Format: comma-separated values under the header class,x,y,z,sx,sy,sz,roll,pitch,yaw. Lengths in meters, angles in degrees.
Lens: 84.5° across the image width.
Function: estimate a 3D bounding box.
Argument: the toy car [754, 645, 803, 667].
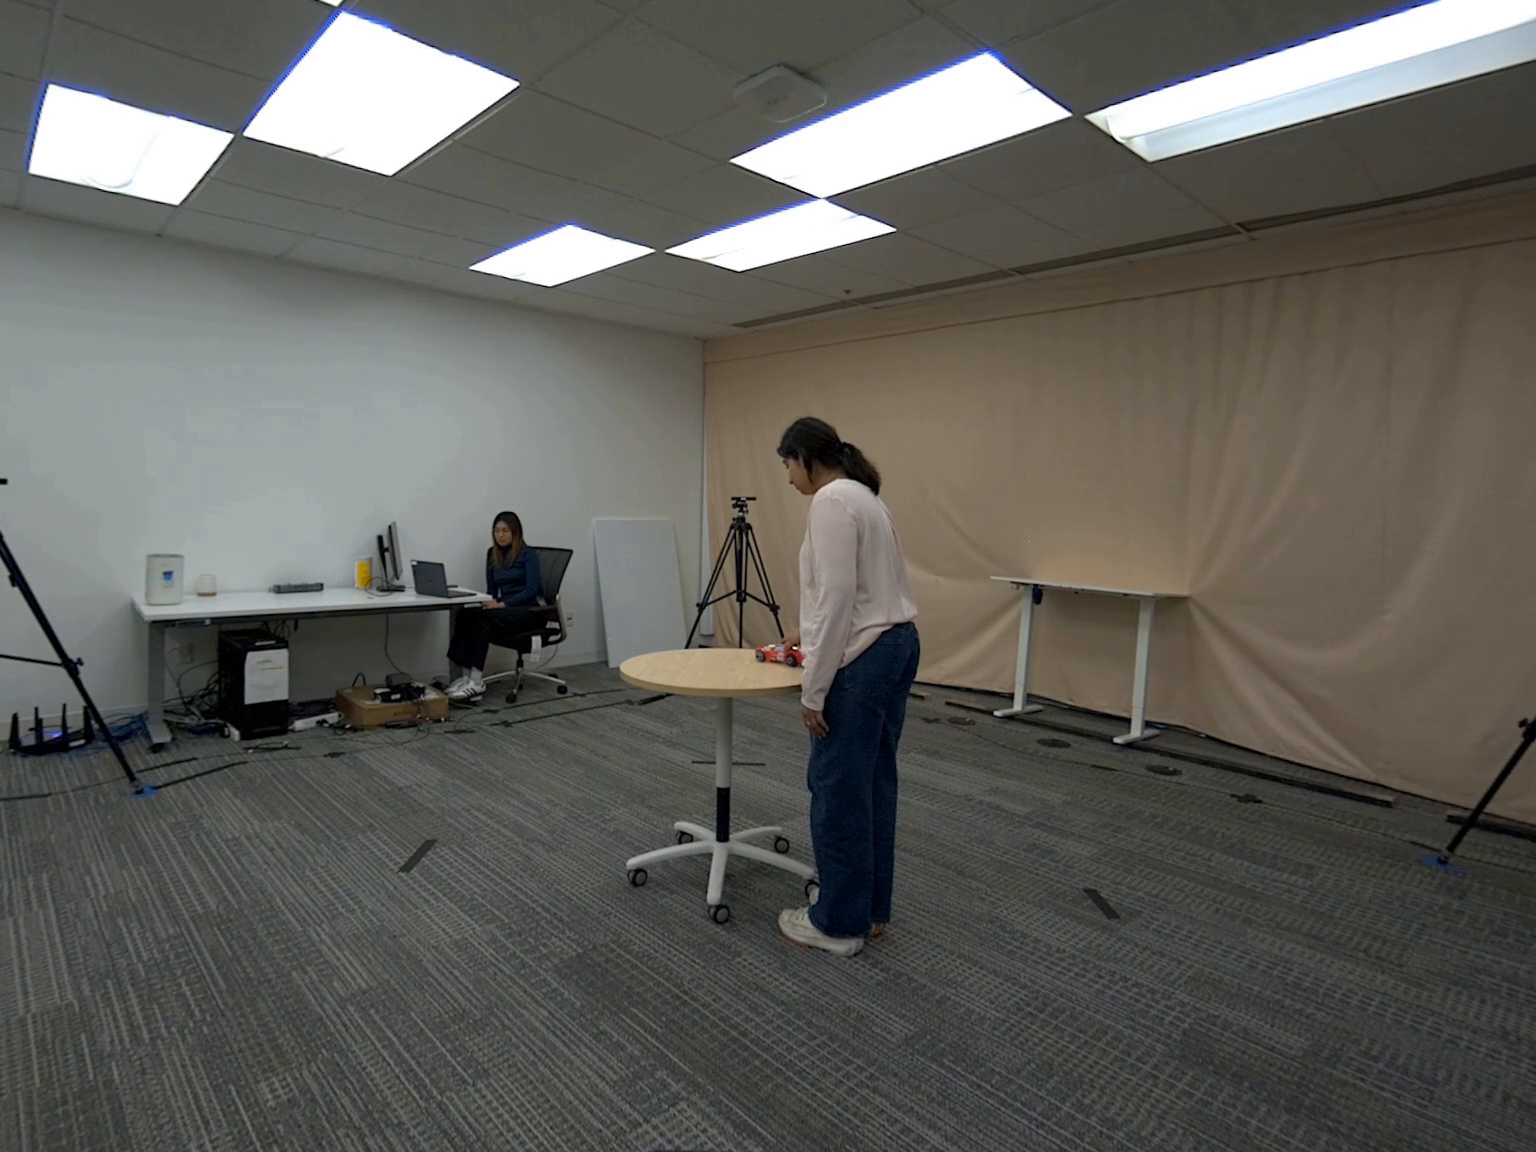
class,x,y,z,sx,sy,sz,roll,pitch,yaw
toy car,0.069,0.294,3.124,0.259,0.083,0.127,-9,-3,40
